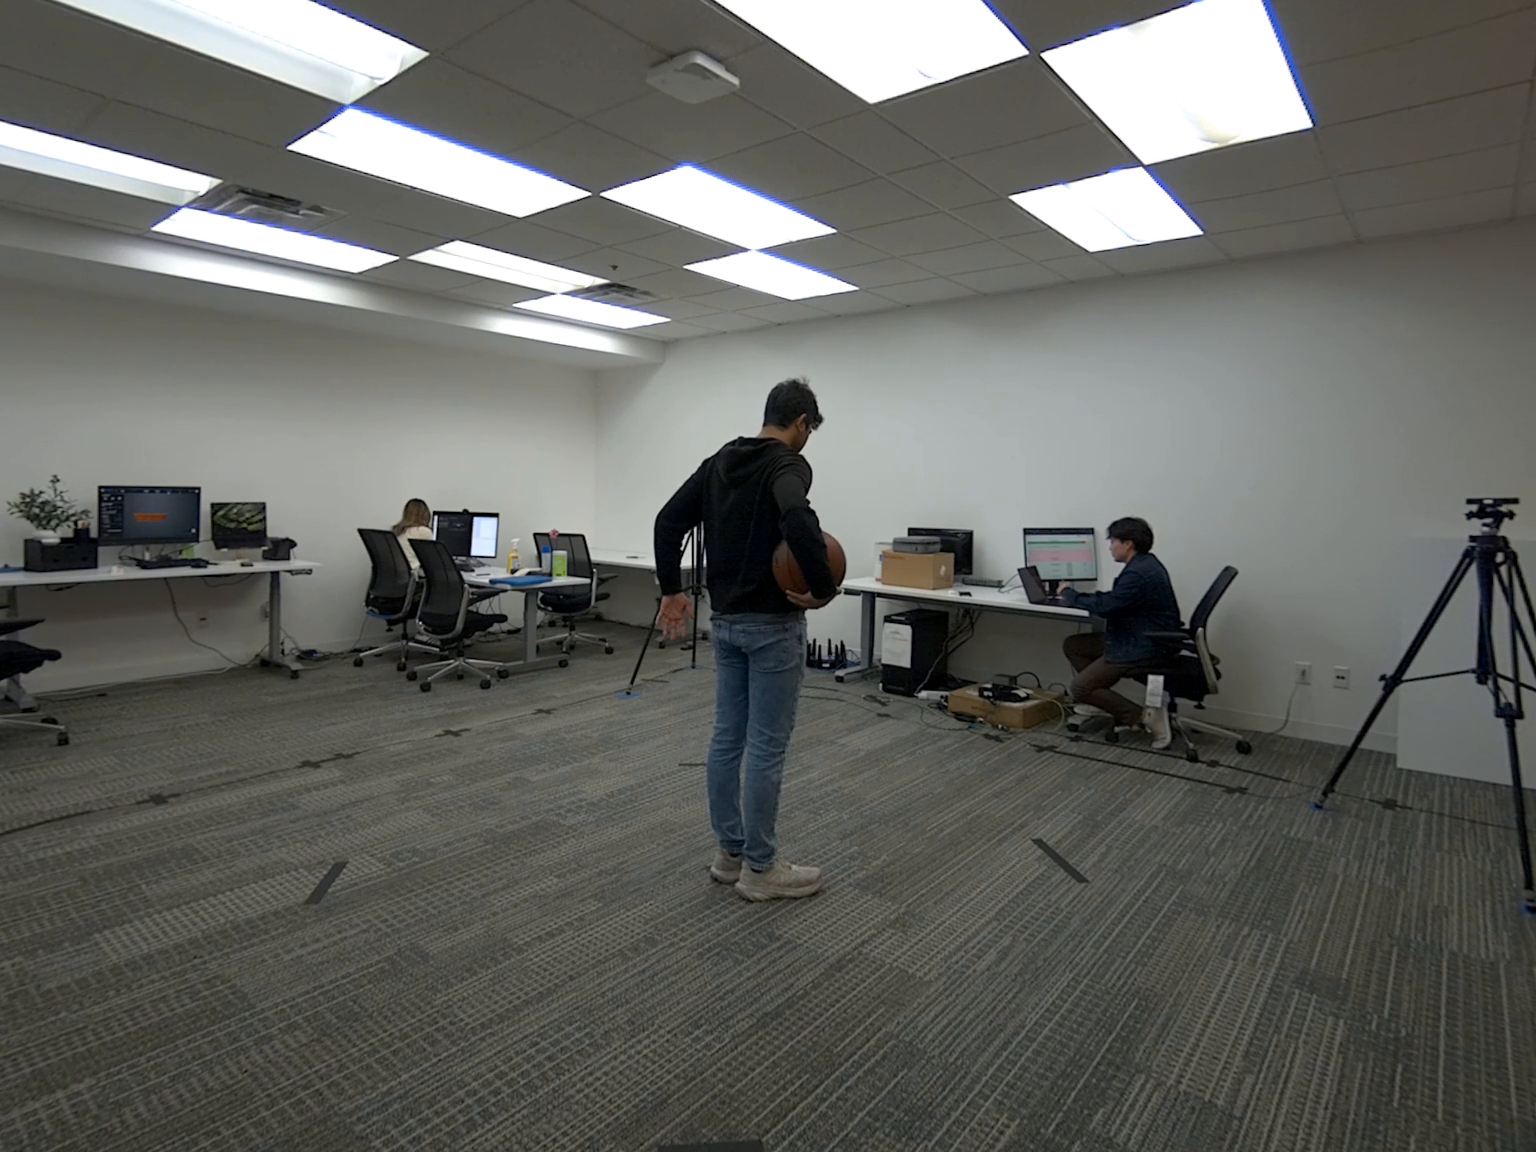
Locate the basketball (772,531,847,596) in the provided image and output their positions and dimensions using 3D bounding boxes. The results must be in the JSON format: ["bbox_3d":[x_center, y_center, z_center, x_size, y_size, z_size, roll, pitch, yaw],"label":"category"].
[{"bbox_3d":[0.127,-0.039,2.762,0.235,0.235,0.237,1,4,-2],"label":"basketball"}]
